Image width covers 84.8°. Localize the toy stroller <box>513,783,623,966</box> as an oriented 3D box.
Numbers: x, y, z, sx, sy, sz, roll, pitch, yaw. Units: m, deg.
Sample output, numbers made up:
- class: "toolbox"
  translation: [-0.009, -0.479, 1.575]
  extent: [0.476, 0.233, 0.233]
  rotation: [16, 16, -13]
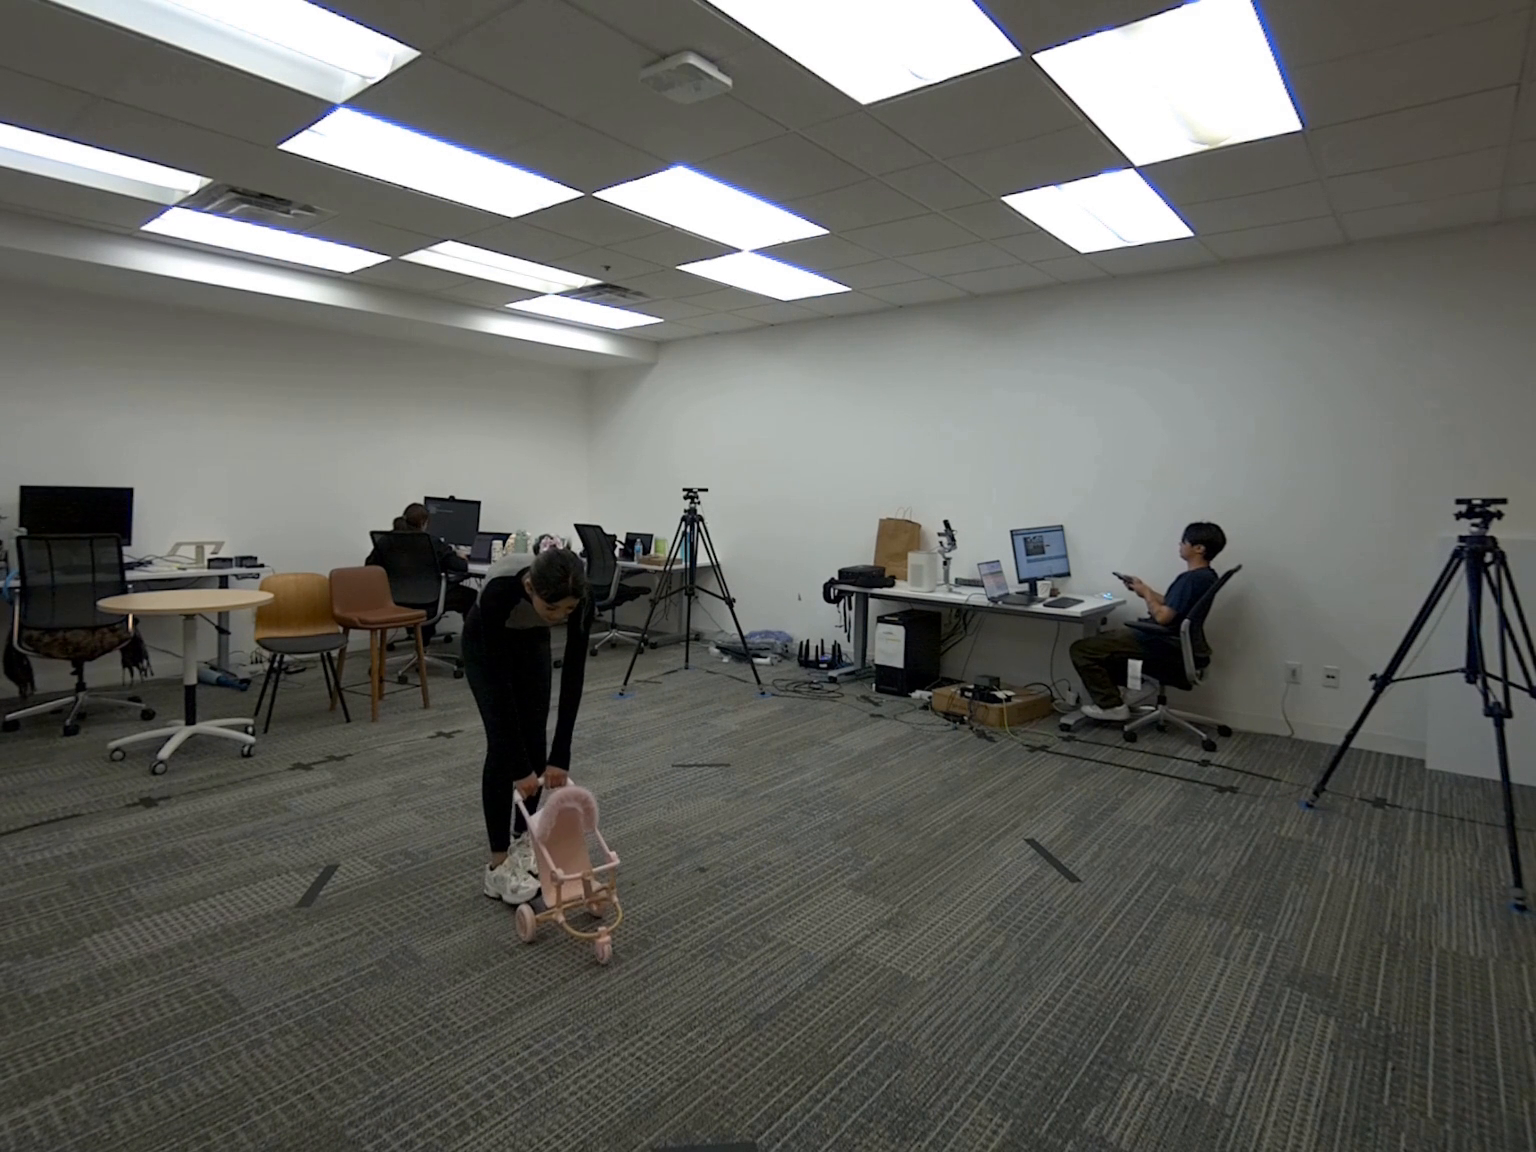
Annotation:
- class: "toy stroller"
  translation: [-0.611, 0.883, 2.616]
  extent: [0.273, 0.540, 0.348]
  rotation: [-2, -11, -38]
